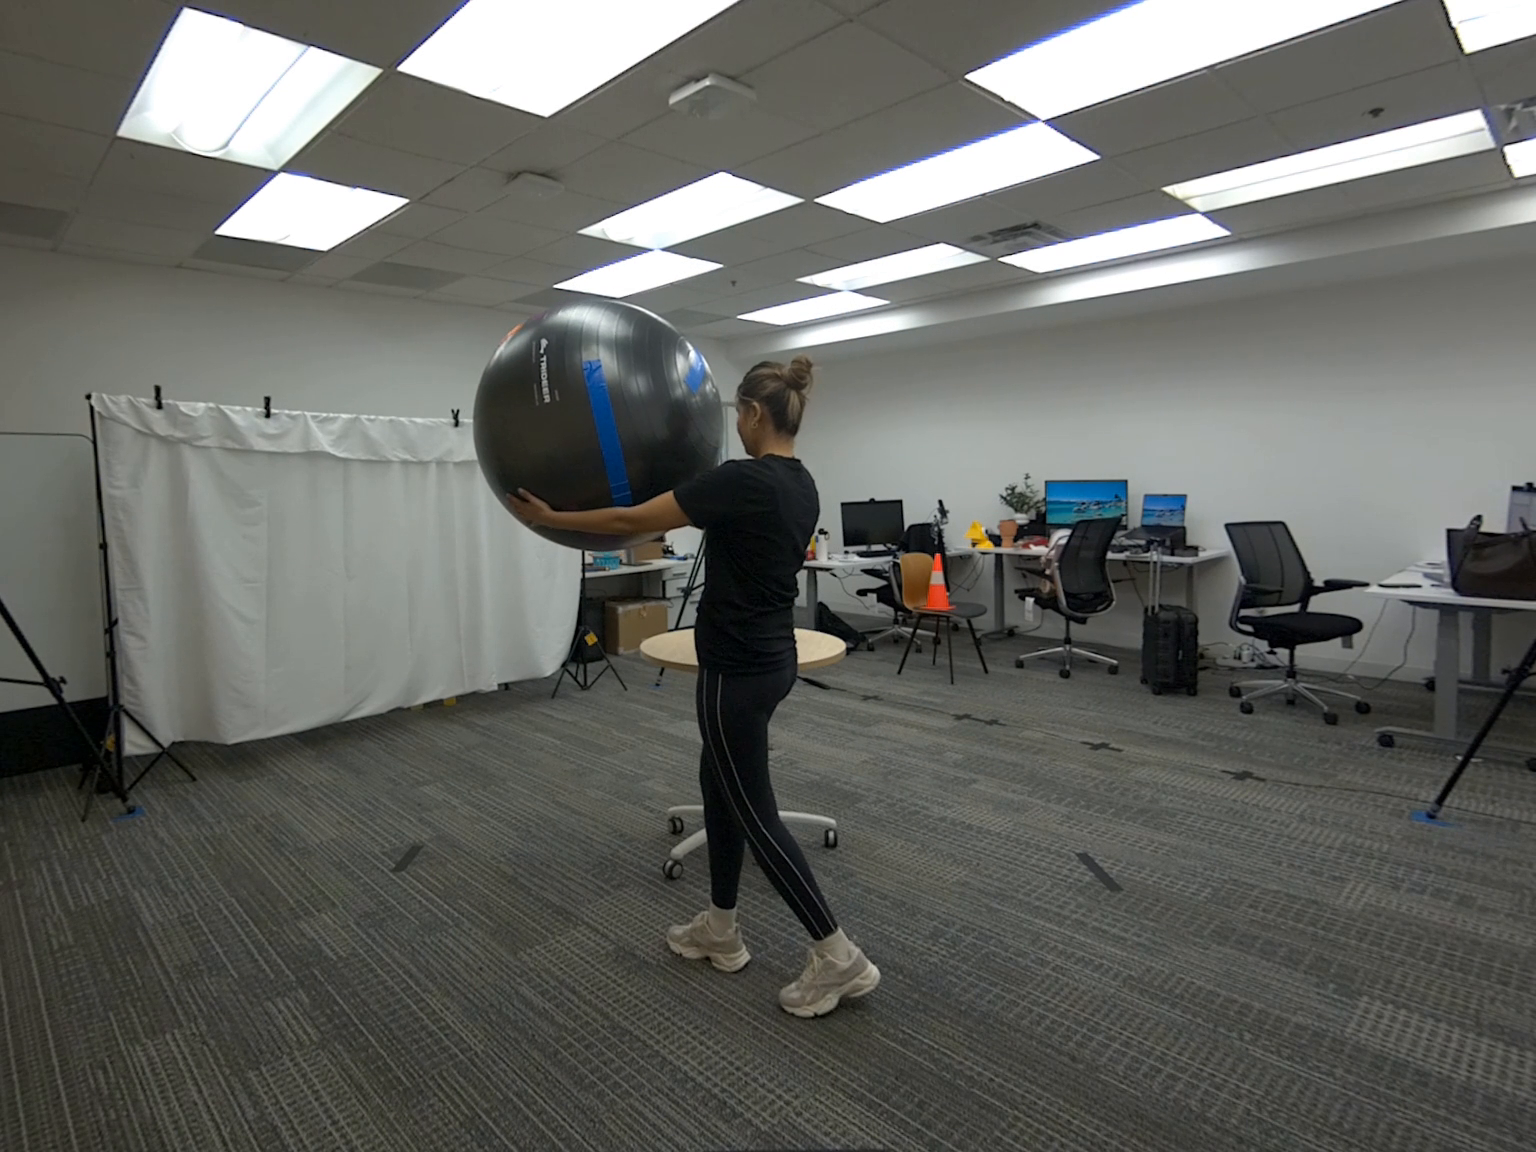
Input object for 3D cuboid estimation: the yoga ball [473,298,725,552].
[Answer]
[{"bbox_3d":[-0.517,-0.449,2.615,0.757,0.755,0.762,-1,5,-2],"label":"yoga ball"}]
